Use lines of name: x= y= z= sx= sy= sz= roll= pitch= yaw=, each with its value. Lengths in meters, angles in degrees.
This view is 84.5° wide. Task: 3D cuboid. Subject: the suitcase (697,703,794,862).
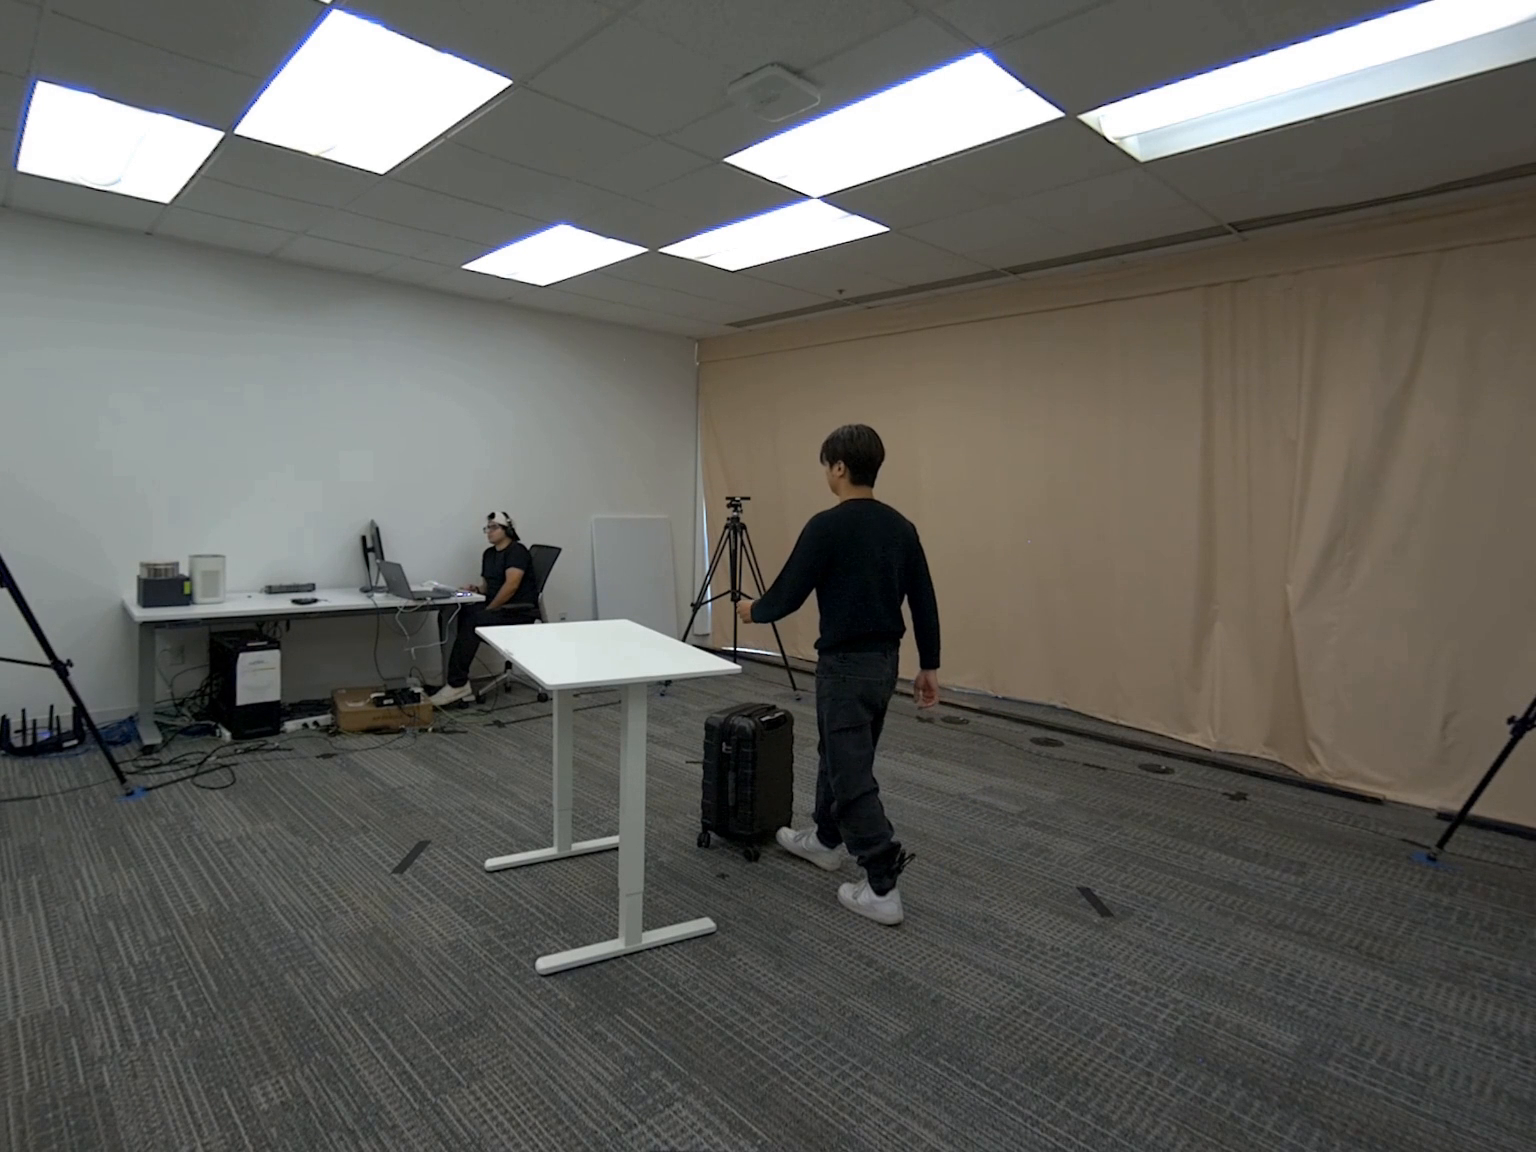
suitcase: x=-0.086 y=0.798 z=3.427 sx=0.254 sy=0.548 sz=0.367 roll=4 pitch=4 yaw=34
